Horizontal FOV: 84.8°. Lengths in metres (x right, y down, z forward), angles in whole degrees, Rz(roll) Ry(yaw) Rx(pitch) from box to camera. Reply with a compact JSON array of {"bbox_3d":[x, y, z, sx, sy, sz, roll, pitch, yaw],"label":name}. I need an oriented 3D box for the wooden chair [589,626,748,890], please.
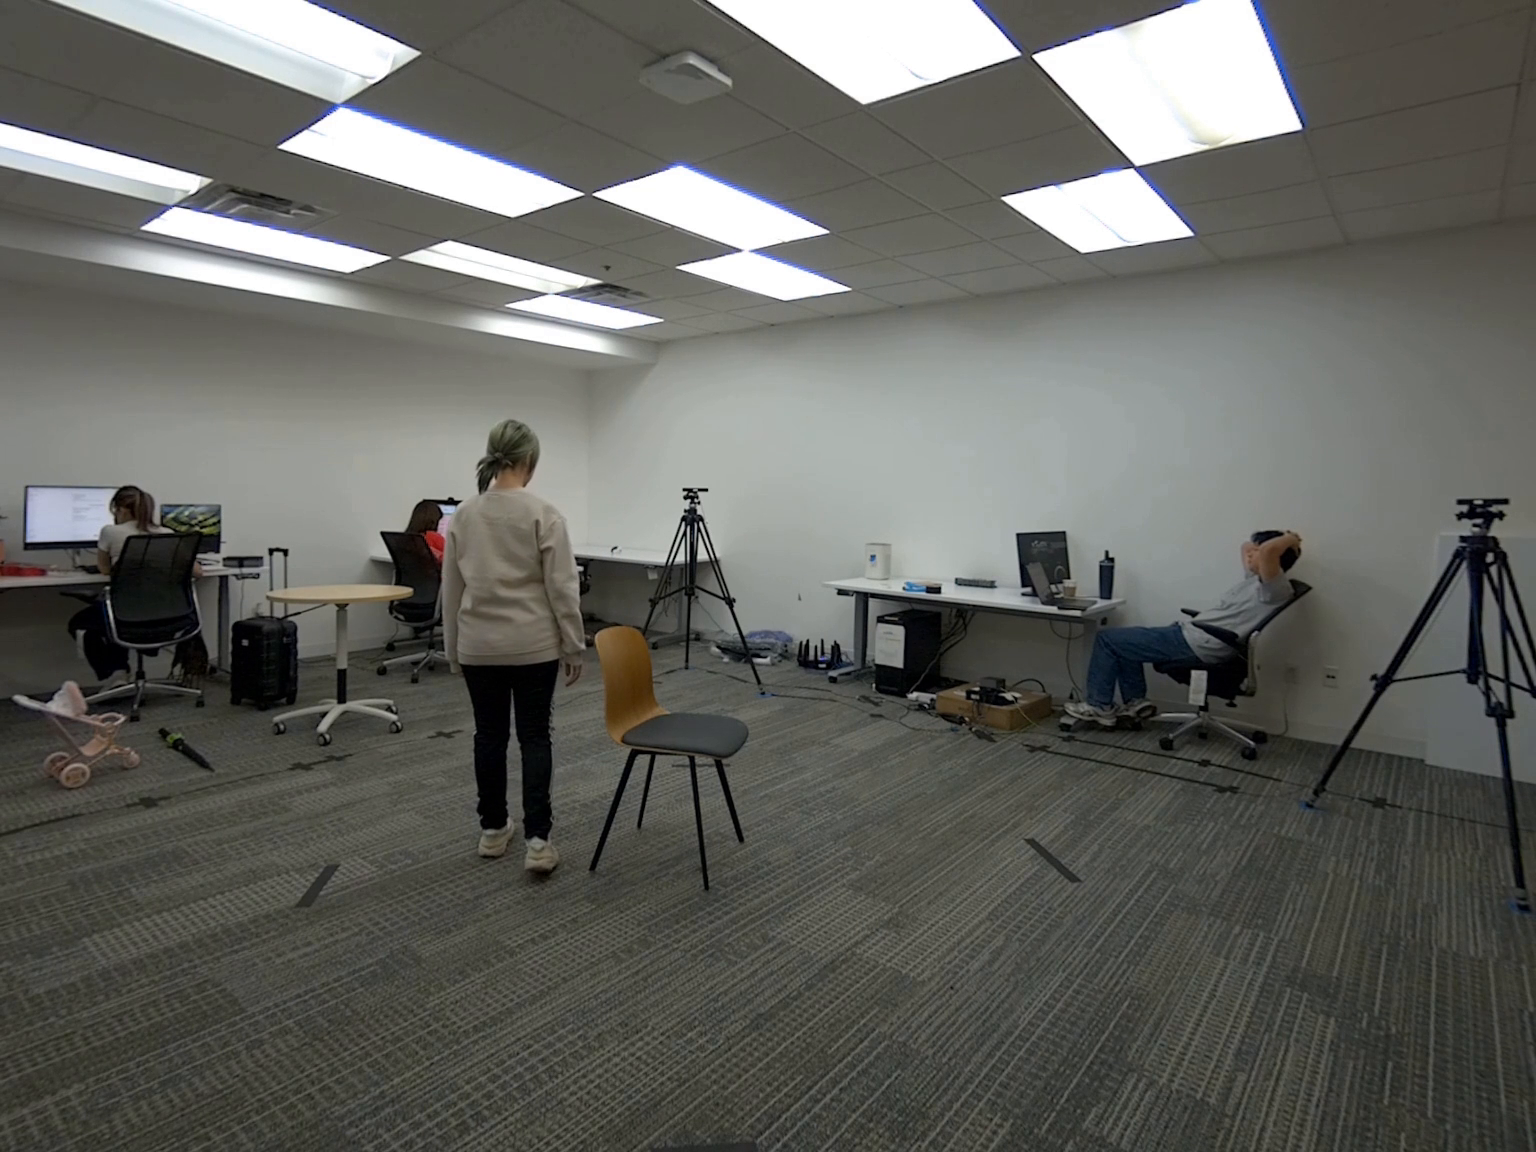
[{"bbox_3d":[-0.362,0.631,3.191,0.533,0.876,0.470,-2,2,17],"label":"wooden chair"}]
